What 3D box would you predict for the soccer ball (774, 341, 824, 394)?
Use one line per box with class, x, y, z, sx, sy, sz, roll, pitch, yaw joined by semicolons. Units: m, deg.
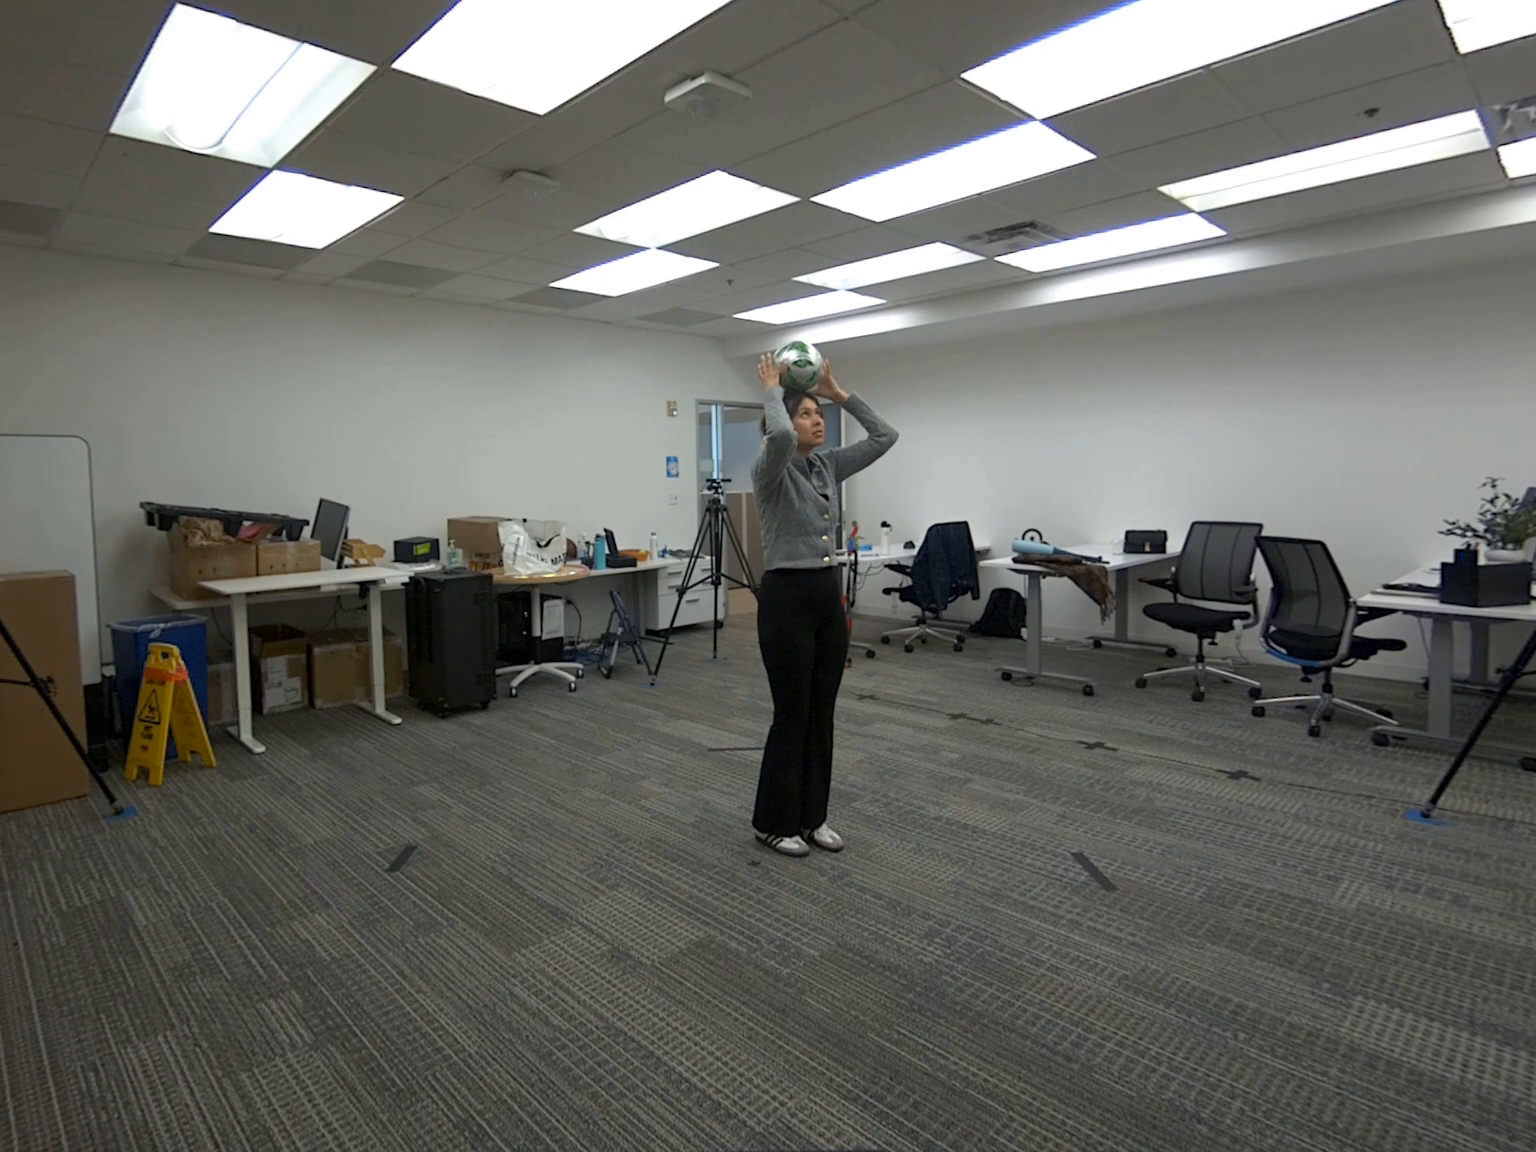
soccer ball;0.108;-0.765;3.132;0.187;0.187;0.188;-1;5;-2
